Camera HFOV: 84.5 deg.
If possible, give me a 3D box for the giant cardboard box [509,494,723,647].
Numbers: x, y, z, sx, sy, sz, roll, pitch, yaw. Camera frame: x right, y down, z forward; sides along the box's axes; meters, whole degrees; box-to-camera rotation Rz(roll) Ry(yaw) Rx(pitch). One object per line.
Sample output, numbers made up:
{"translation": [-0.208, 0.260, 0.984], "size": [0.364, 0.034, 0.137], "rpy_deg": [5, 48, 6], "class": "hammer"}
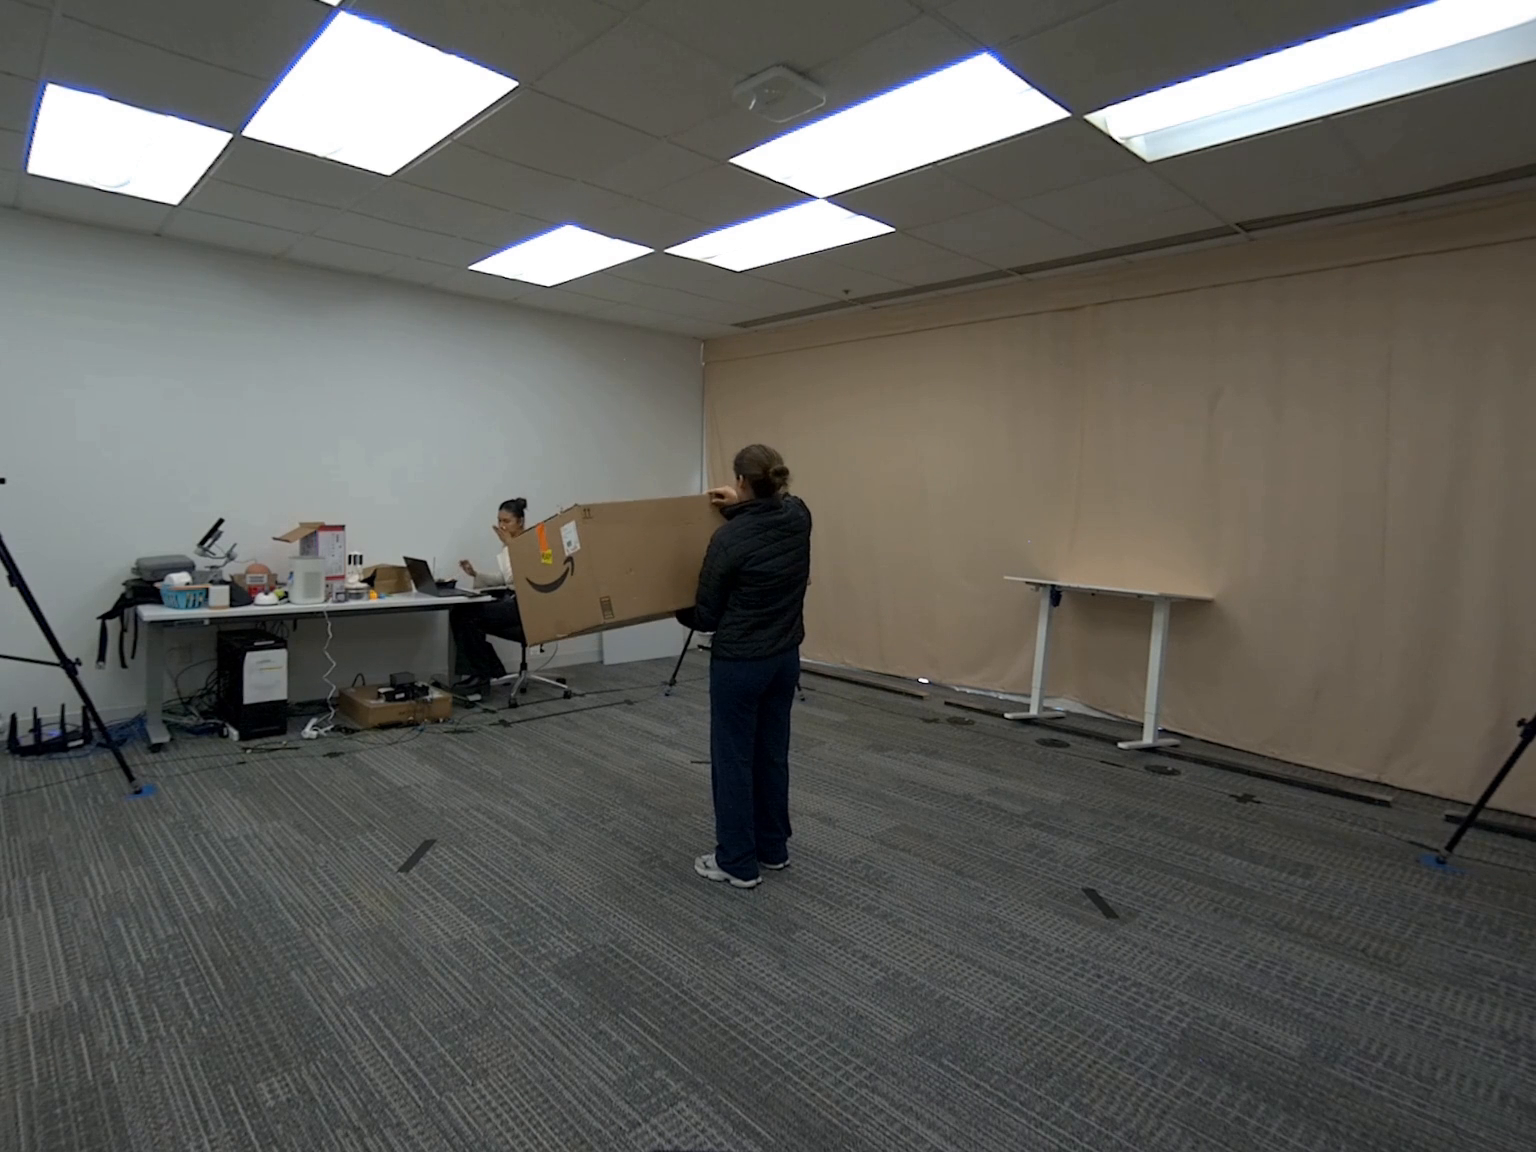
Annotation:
{"translation": [-0.424, -0.055, 3.364], "size": [1.005, 0.428, 0.586], "rpy_deg": [-10, -5, -42], "class": "giant cardboard box"}
